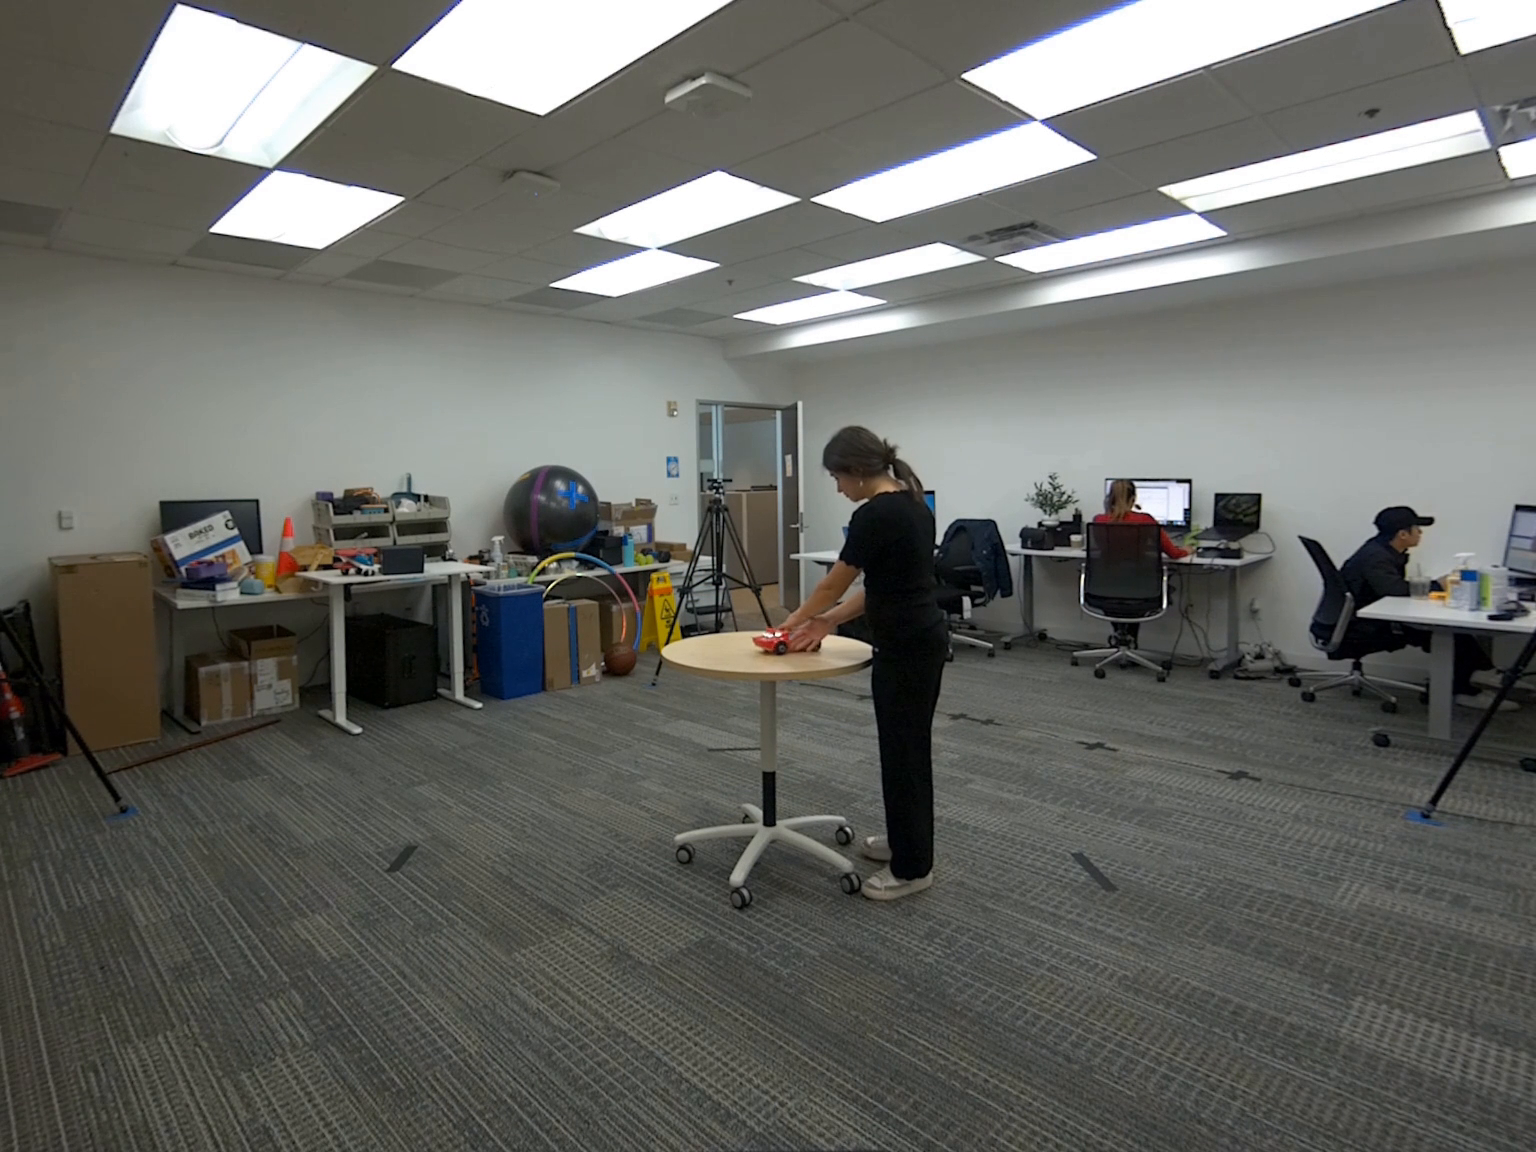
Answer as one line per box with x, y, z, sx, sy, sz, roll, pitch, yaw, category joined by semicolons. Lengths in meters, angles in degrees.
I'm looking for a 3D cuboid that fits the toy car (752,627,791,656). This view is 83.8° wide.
0.063;0.235;3.028;0.248;0.083;0.134;11;-1;-28;toy car
